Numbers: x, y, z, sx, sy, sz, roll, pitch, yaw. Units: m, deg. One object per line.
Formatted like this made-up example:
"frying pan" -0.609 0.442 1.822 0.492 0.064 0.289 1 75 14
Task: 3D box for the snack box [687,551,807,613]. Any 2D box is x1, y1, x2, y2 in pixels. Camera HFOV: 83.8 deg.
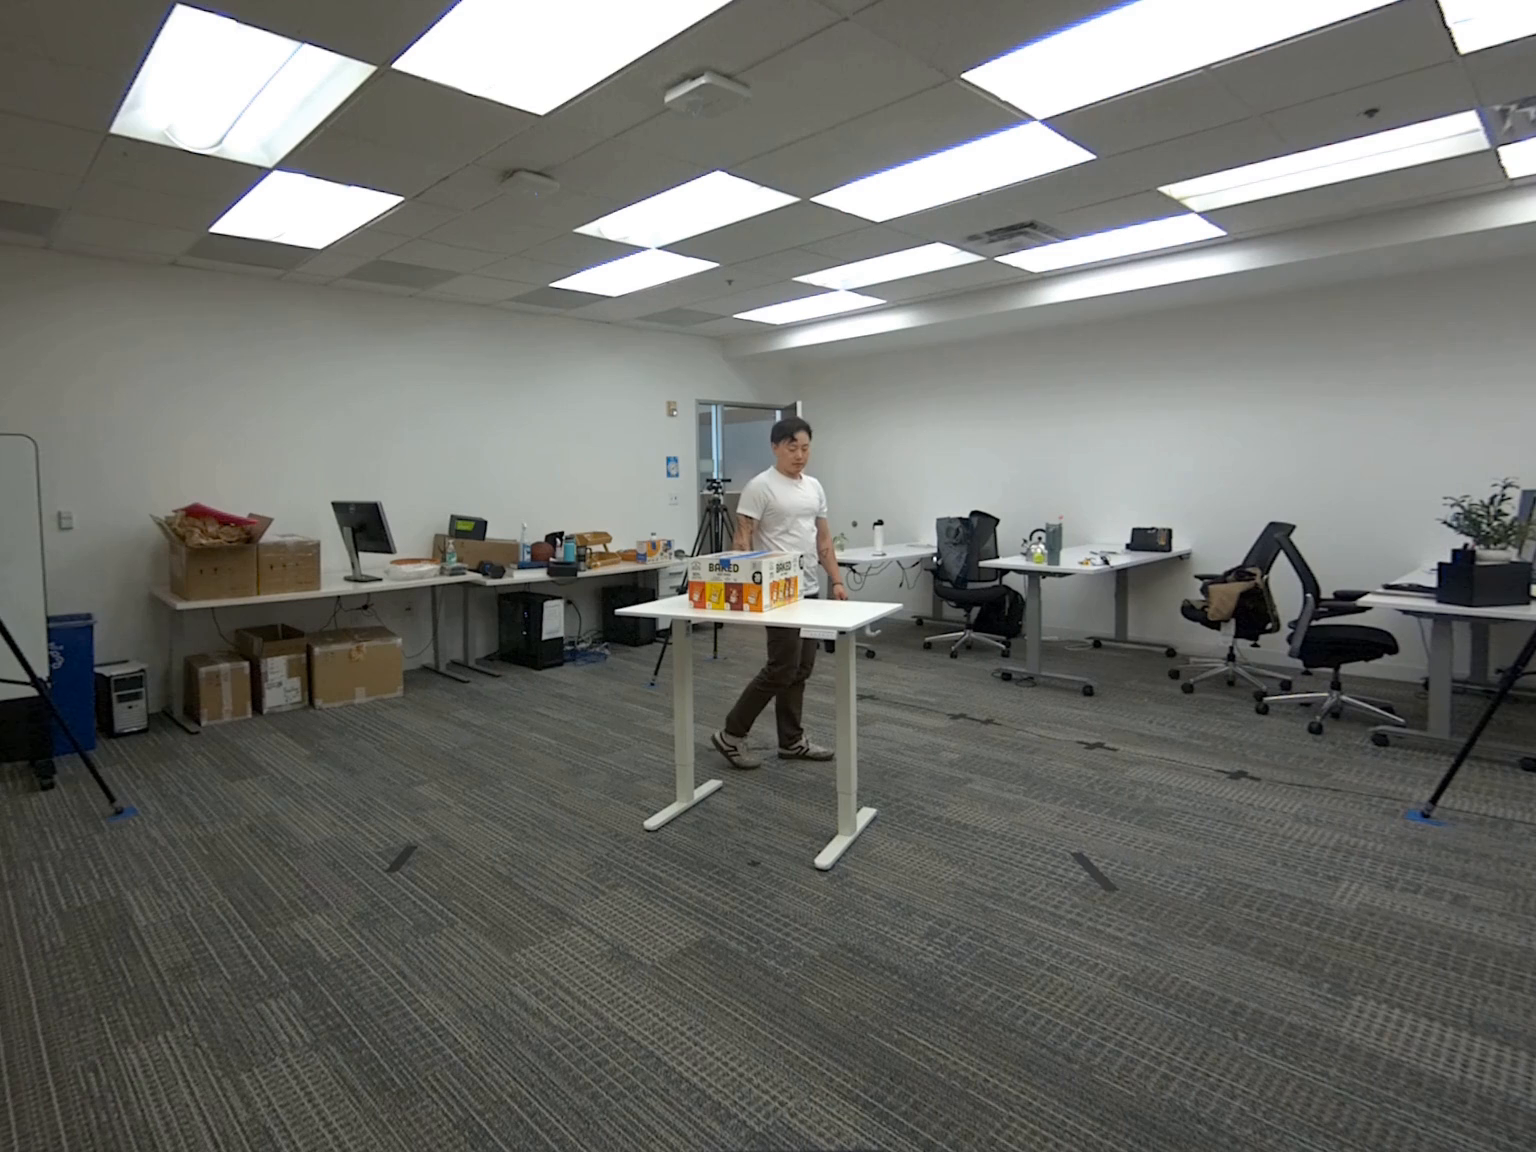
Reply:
"snack box" -0.089 0.016 3.544 0.349 0.205 0.397 2 6 27
